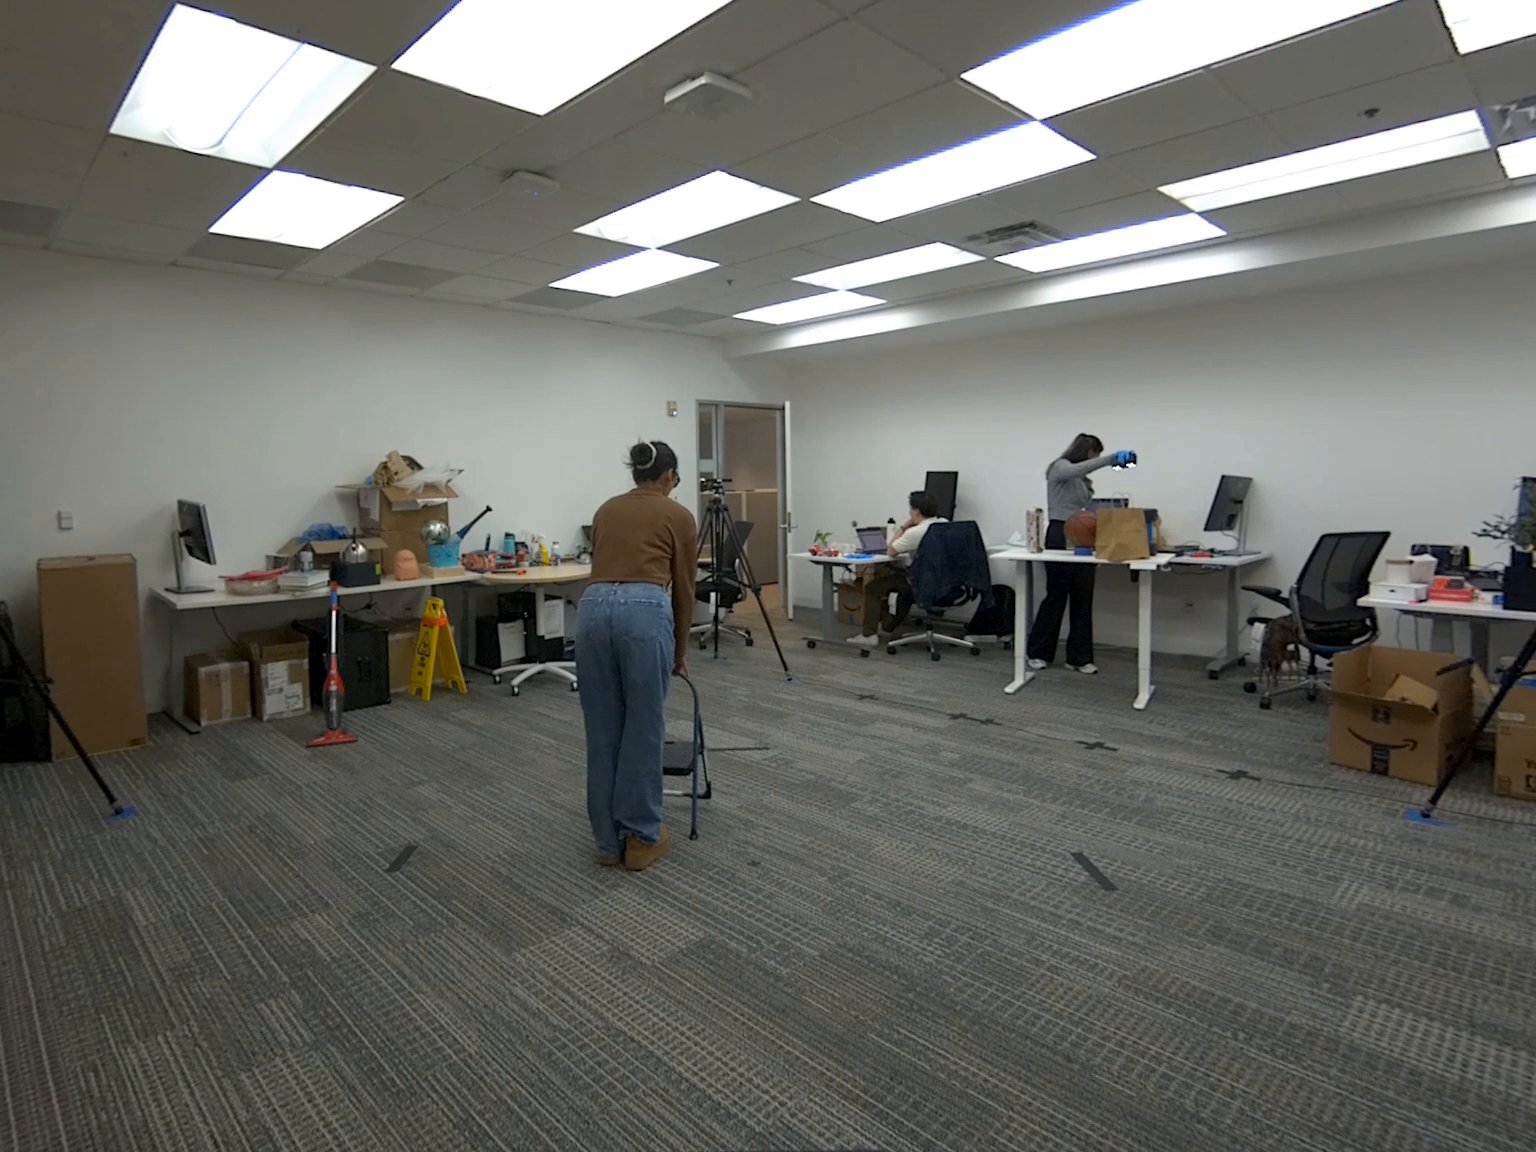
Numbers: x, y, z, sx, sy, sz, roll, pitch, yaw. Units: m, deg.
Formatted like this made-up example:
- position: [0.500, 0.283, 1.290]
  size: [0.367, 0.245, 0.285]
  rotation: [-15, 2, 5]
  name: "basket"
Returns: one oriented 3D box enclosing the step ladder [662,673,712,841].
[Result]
- position: [-0.471, 0.691, 3.471]
  size: [0.435, 0.599, 0.349]
  rotation: [0, 12, 10]
  name: "step ladder"
